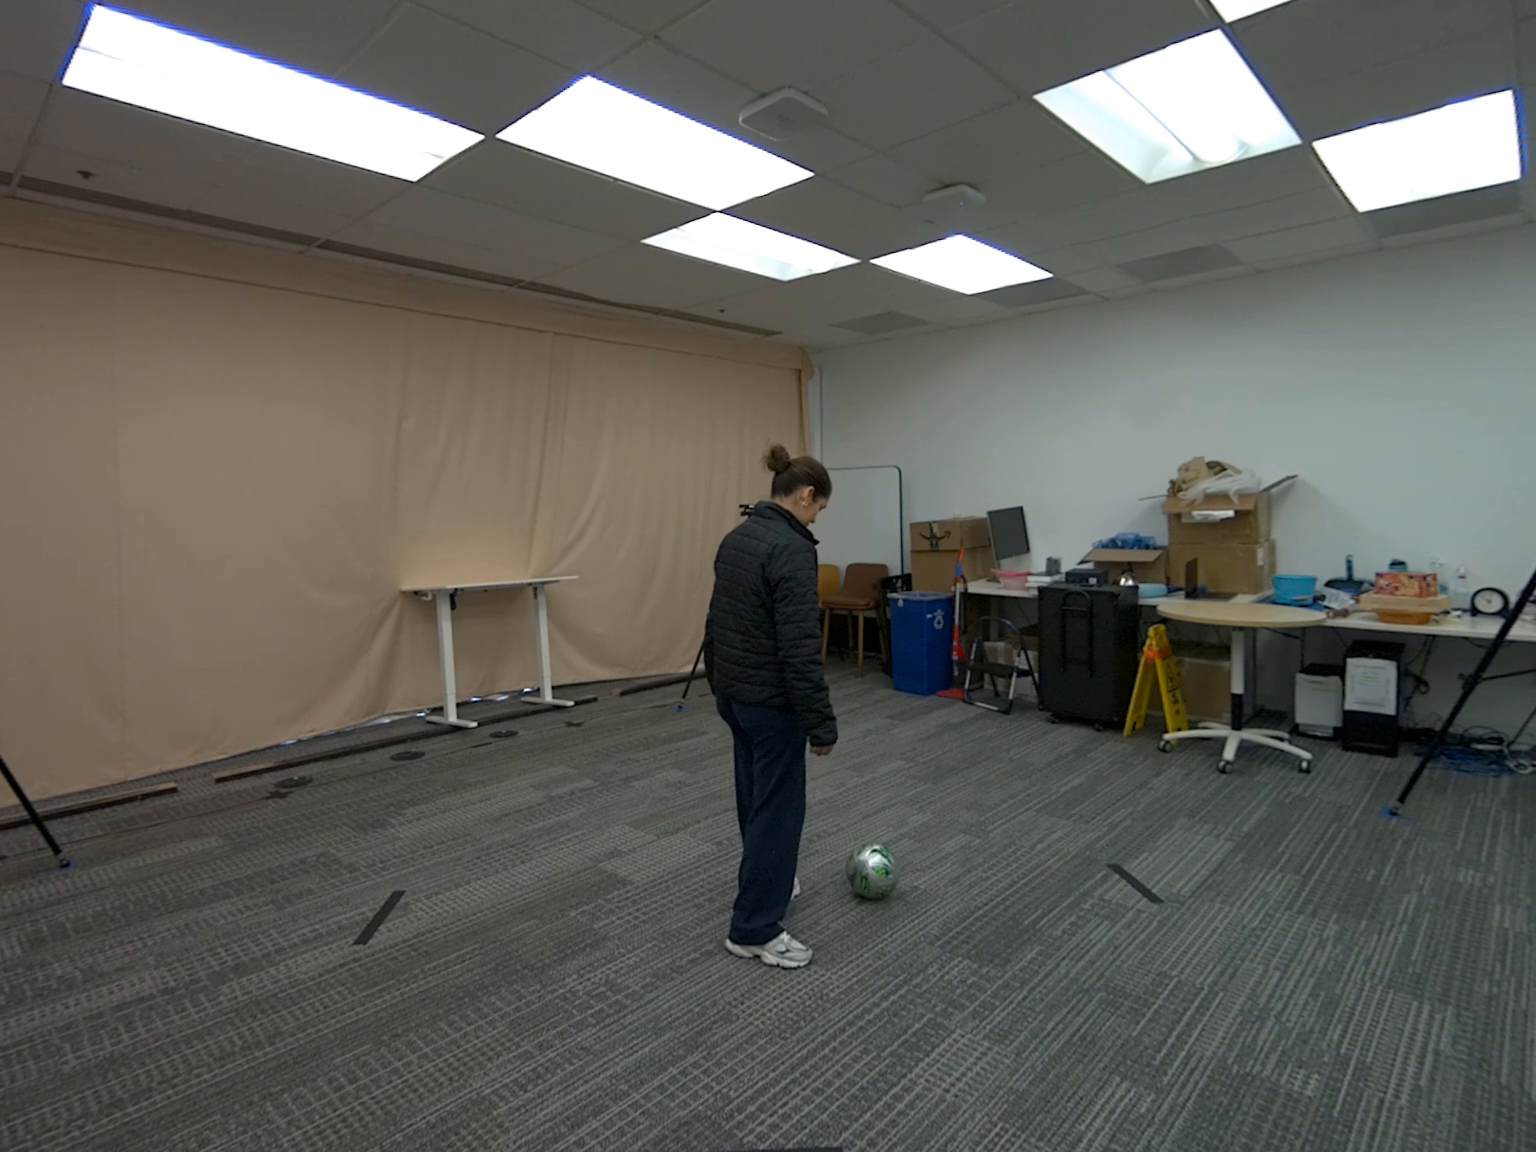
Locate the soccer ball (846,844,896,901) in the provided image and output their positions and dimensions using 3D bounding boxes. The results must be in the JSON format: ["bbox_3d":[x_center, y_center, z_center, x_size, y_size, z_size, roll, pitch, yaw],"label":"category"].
[{"bbox_3d":[0.372,1.038,2.972,0.187,0.187,0.188,-1,4,-2],"label":"soccer ball"}]
